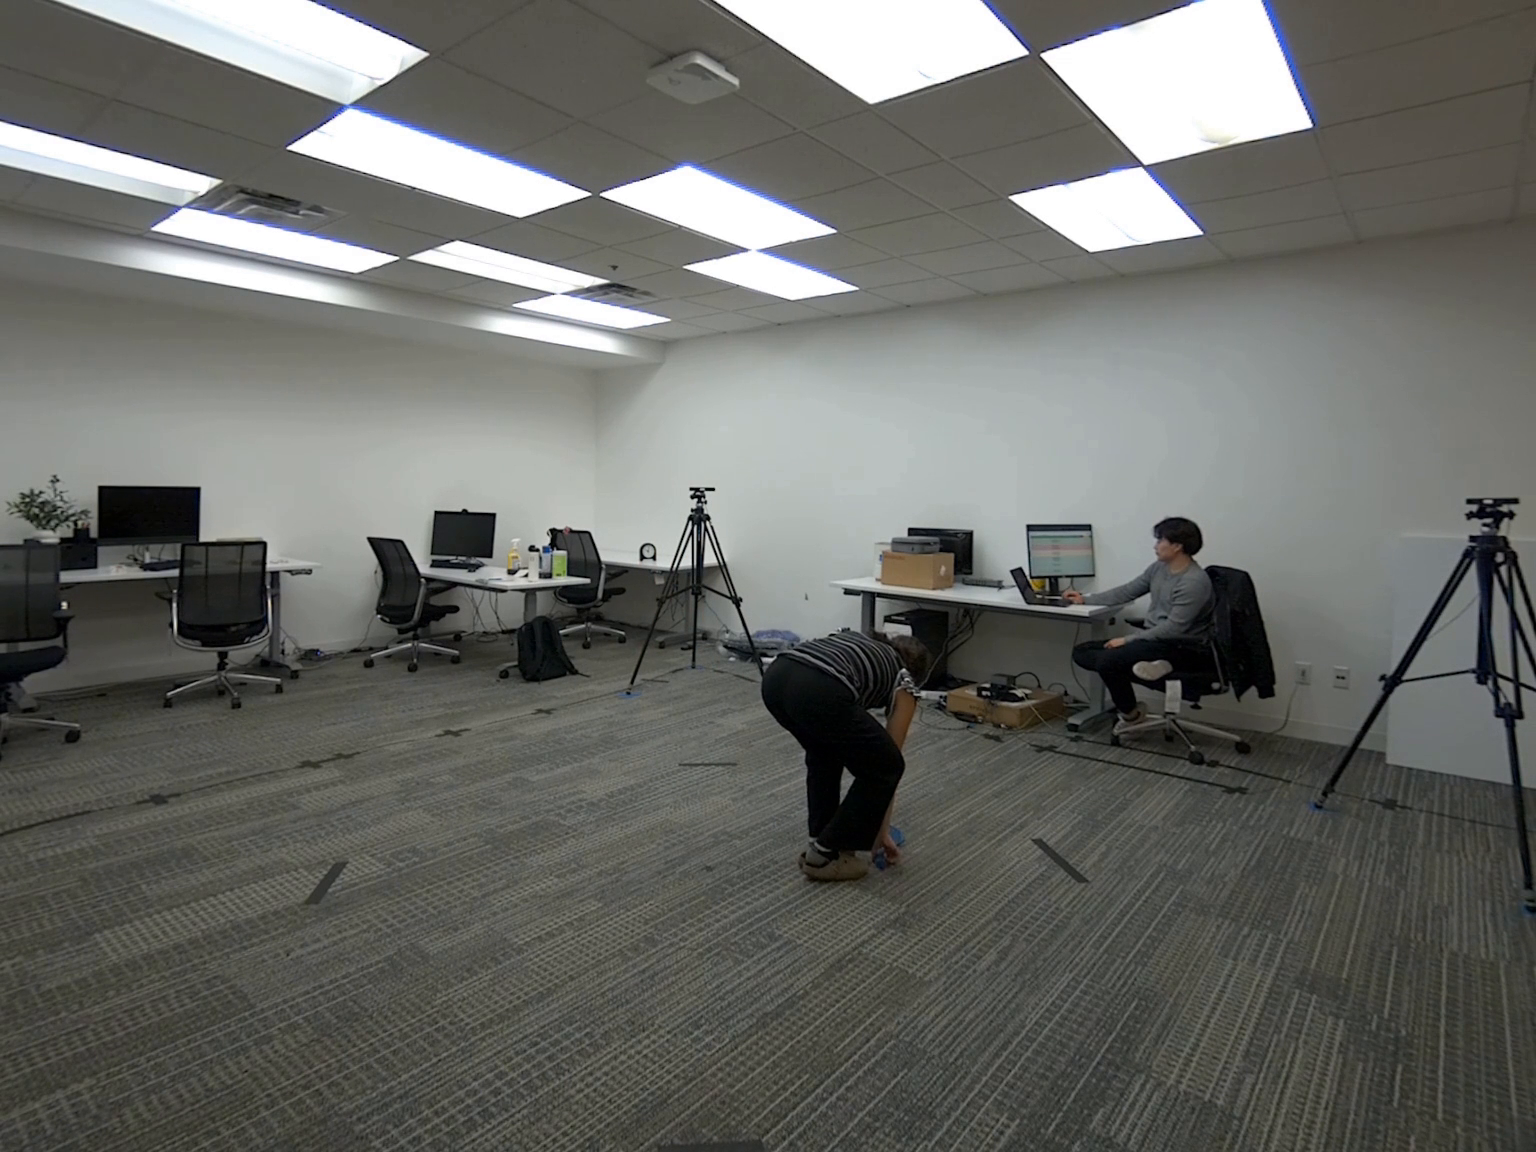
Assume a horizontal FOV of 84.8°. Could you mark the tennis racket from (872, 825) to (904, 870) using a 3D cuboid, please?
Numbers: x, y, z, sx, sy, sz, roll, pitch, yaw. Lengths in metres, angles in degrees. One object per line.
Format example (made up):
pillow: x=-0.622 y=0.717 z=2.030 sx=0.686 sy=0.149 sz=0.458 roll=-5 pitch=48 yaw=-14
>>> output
tennis racket: x=0.418 y=1.035 z=3.350 sx=0.214 sy=0.031 sz=0.433 roll=1 pitch=4 yaw=1
